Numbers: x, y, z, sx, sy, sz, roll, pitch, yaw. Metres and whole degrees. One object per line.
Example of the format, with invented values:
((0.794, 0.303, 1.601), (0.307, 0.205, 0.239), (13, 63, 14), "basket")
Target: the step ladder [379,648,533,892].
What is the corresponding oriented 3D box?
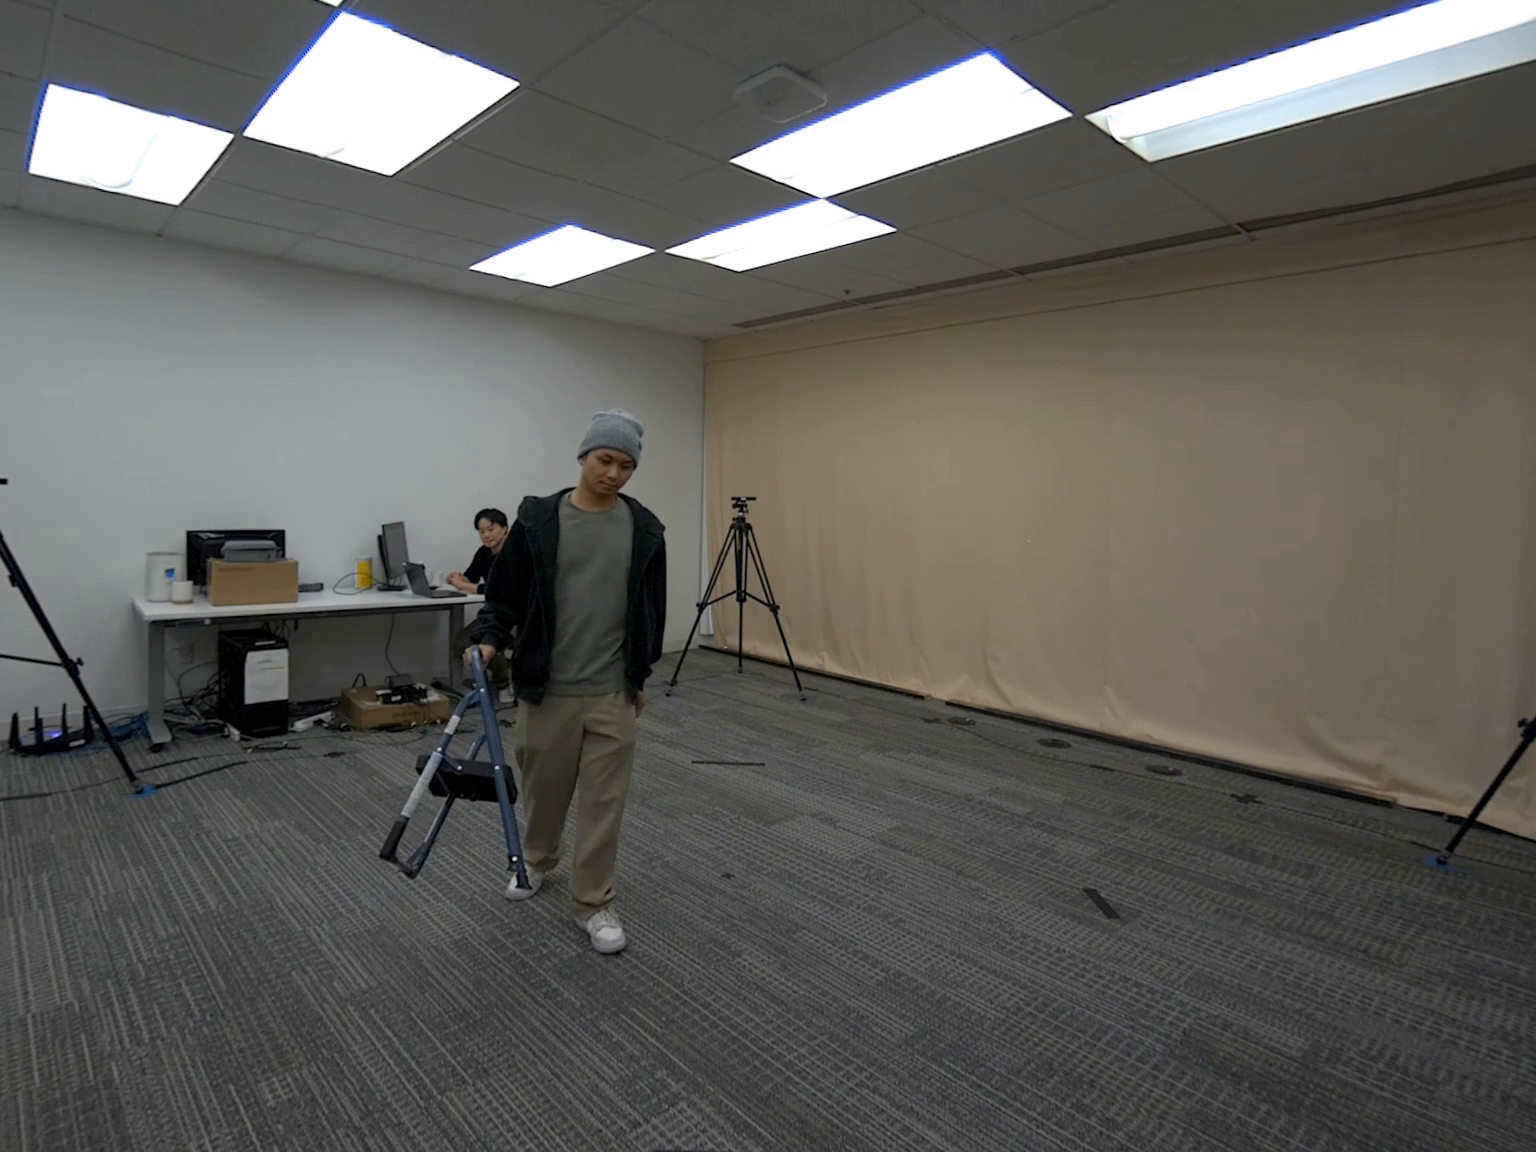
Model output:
((-0.805, 0.525, 2.352), (0.347, 0.616, 0.426), (8, -28, -9), "step ladder")
